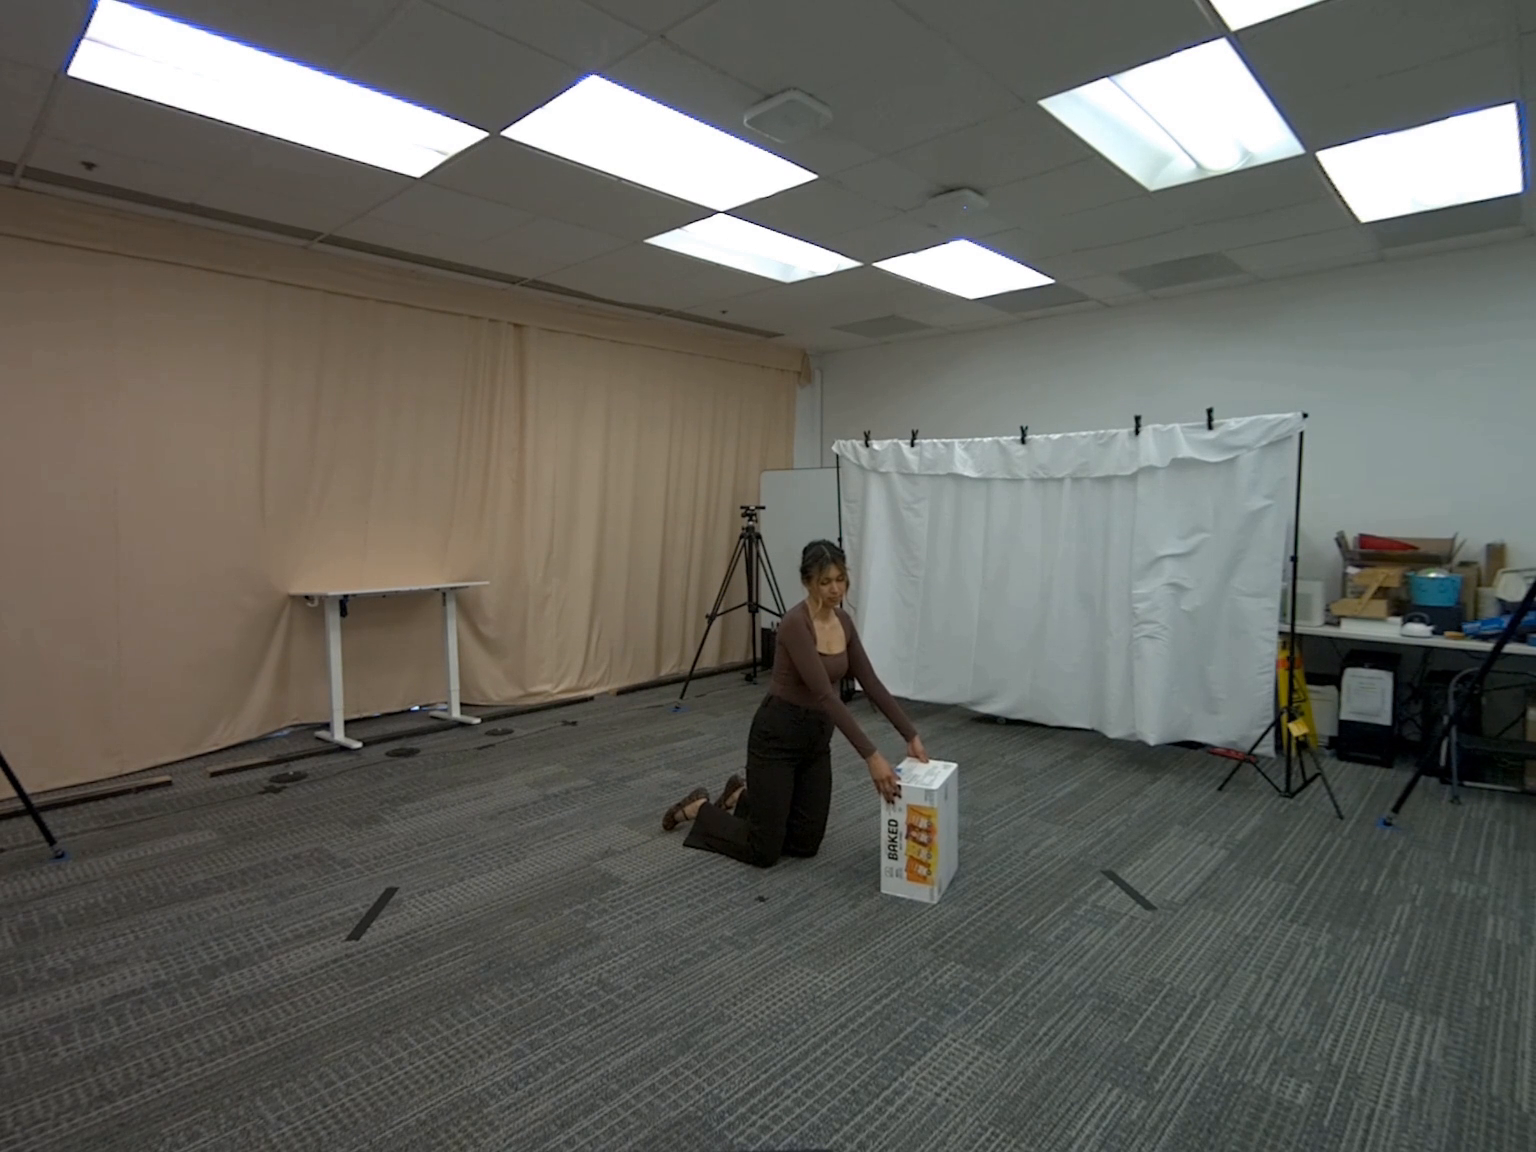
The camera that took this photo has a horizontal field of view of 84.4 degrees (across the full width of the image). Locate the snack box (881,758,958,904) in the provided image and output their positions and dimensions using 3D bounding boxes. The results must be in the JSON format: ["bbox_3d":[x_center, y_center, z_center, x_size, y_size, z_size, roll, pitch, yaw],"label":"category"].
[{"bbox_3d":[0.568,0.926,3.125,0.211,0.404,0.332,1,3,25],"label":"snack box"}]
